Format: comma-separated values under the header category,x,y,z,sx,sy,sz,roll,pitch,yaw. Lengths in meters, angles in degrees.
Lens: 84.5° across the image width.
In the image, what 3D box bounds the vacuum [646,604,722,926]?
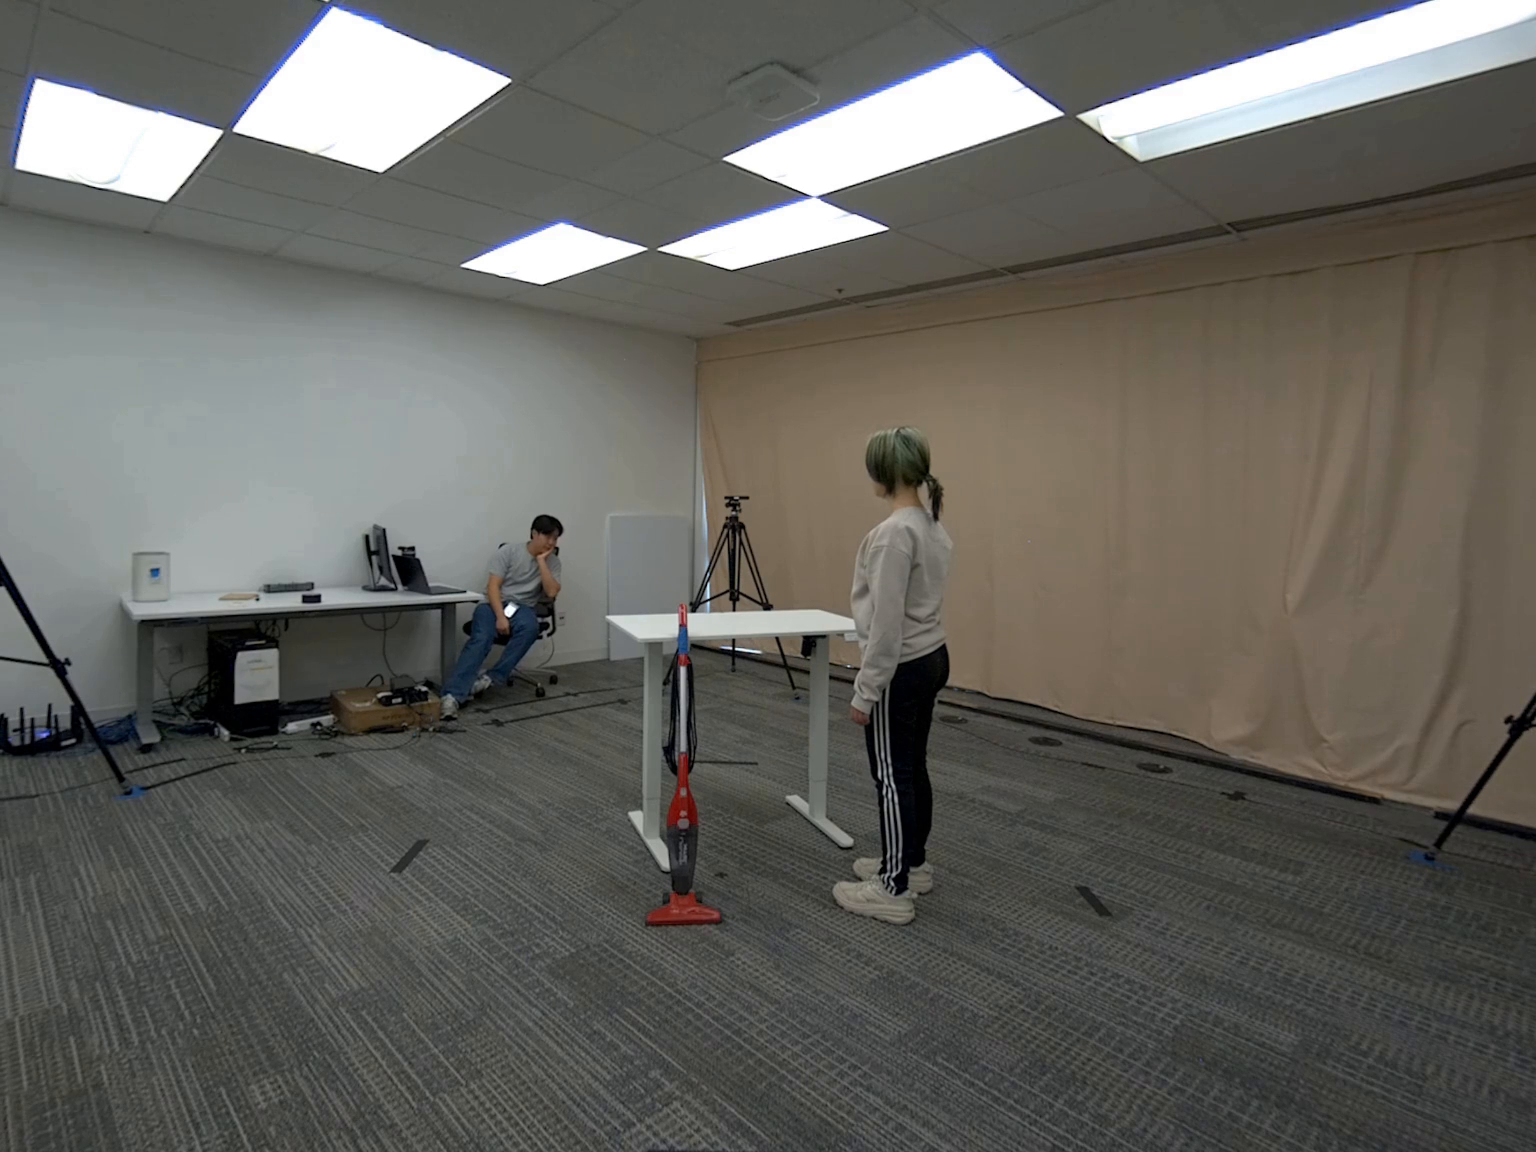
category,x,y,z,sx,sy,sz,roll,pitch,yaw
vacuum,-0.299,0.621,2.958,0.251,1.063,0.143,2,-19,-8
